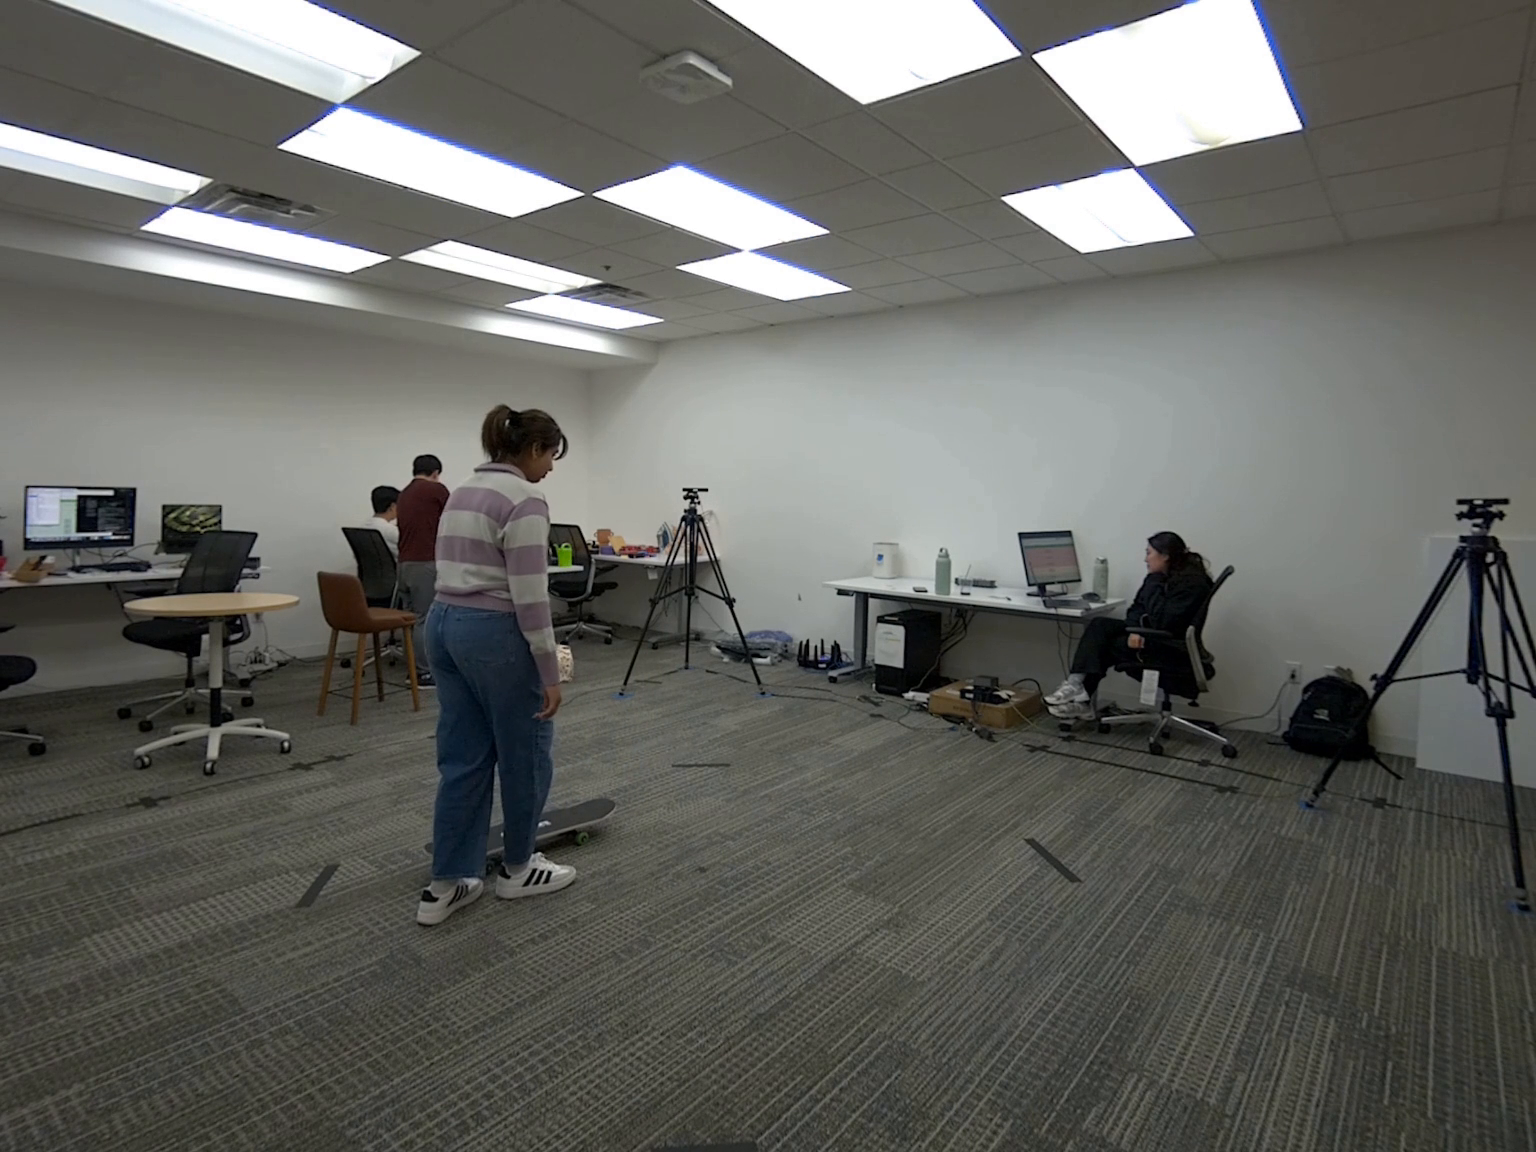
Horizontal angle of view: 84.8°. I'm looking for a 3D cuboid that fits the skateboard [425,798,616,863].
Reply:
[{"bbox_3d":[-0.927,0.992,3.235,0.762,0.110,0.200,-4,8,-42],"label":"skateboard"}]
